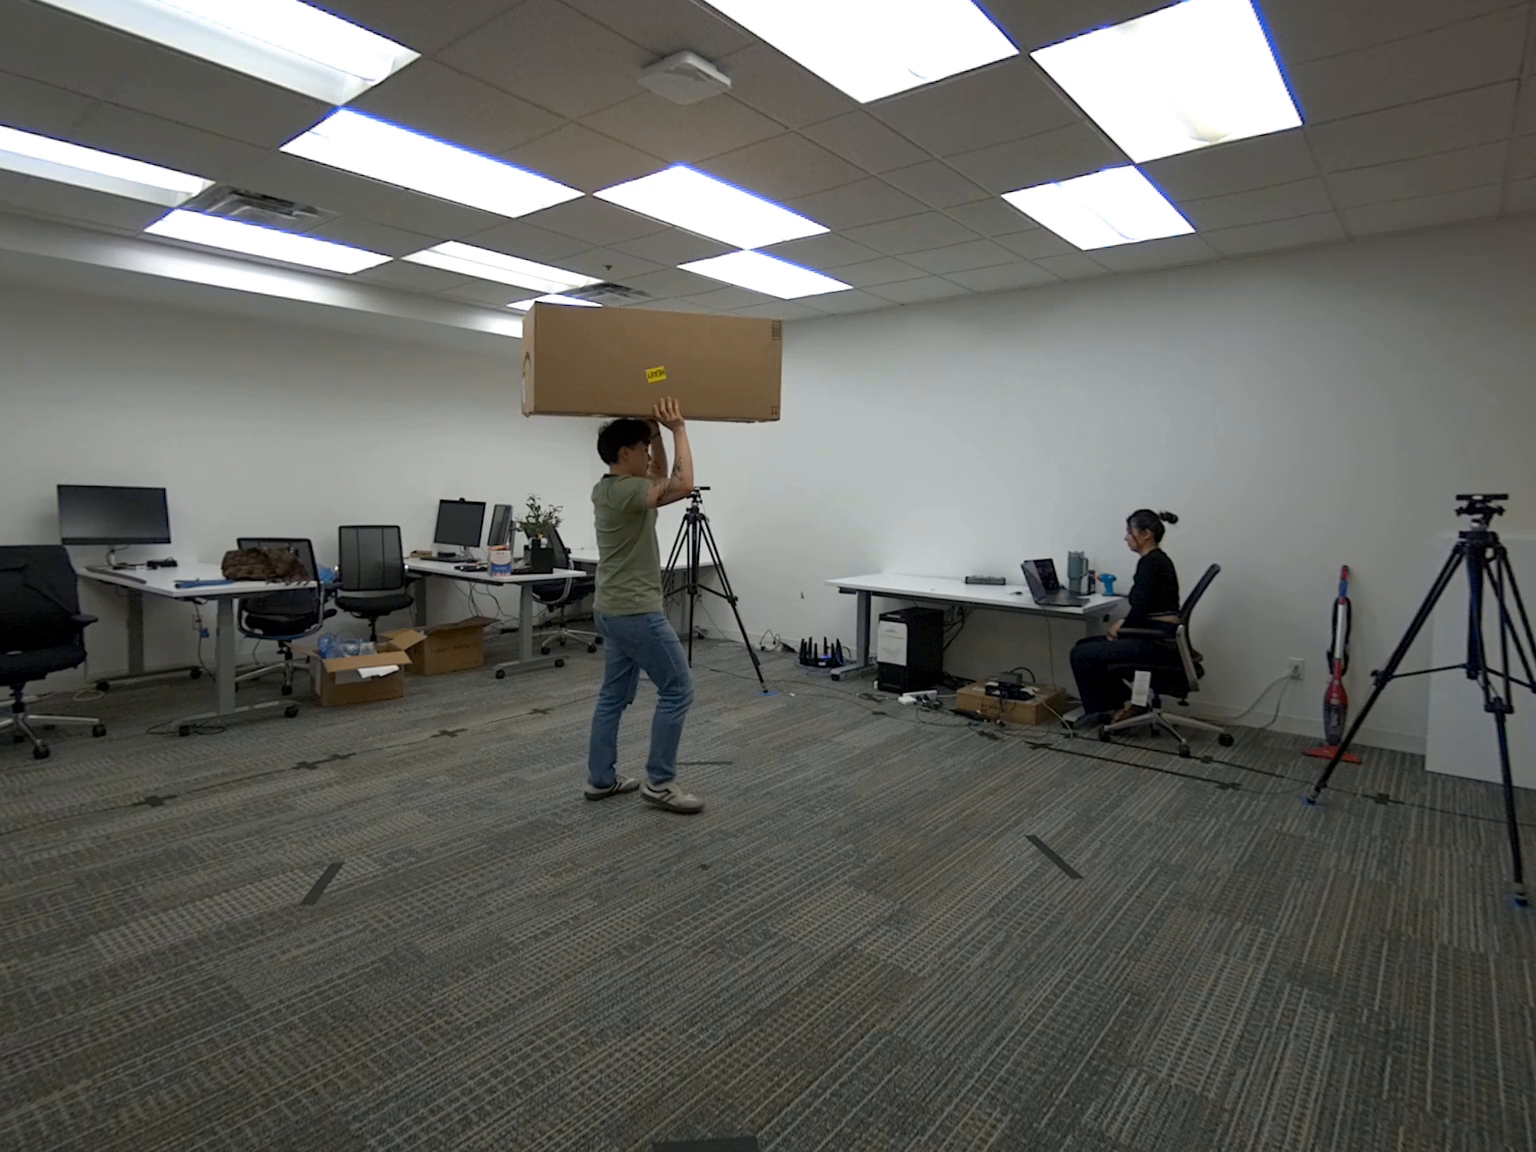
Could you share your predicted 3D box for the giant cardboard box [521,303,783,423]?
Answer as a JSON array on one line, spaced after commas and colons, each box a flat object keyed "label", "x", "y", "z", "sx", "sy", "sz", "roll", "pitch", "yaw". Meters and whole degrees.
[{"label": "giant cardboard box", "x": -0.527, "y": -0.896, "z": 3.675, "sx": 1.007, "sy": 0.423, "sz": 0.592, "roll": -1, "pitch": 8, "yaw": -19}]
